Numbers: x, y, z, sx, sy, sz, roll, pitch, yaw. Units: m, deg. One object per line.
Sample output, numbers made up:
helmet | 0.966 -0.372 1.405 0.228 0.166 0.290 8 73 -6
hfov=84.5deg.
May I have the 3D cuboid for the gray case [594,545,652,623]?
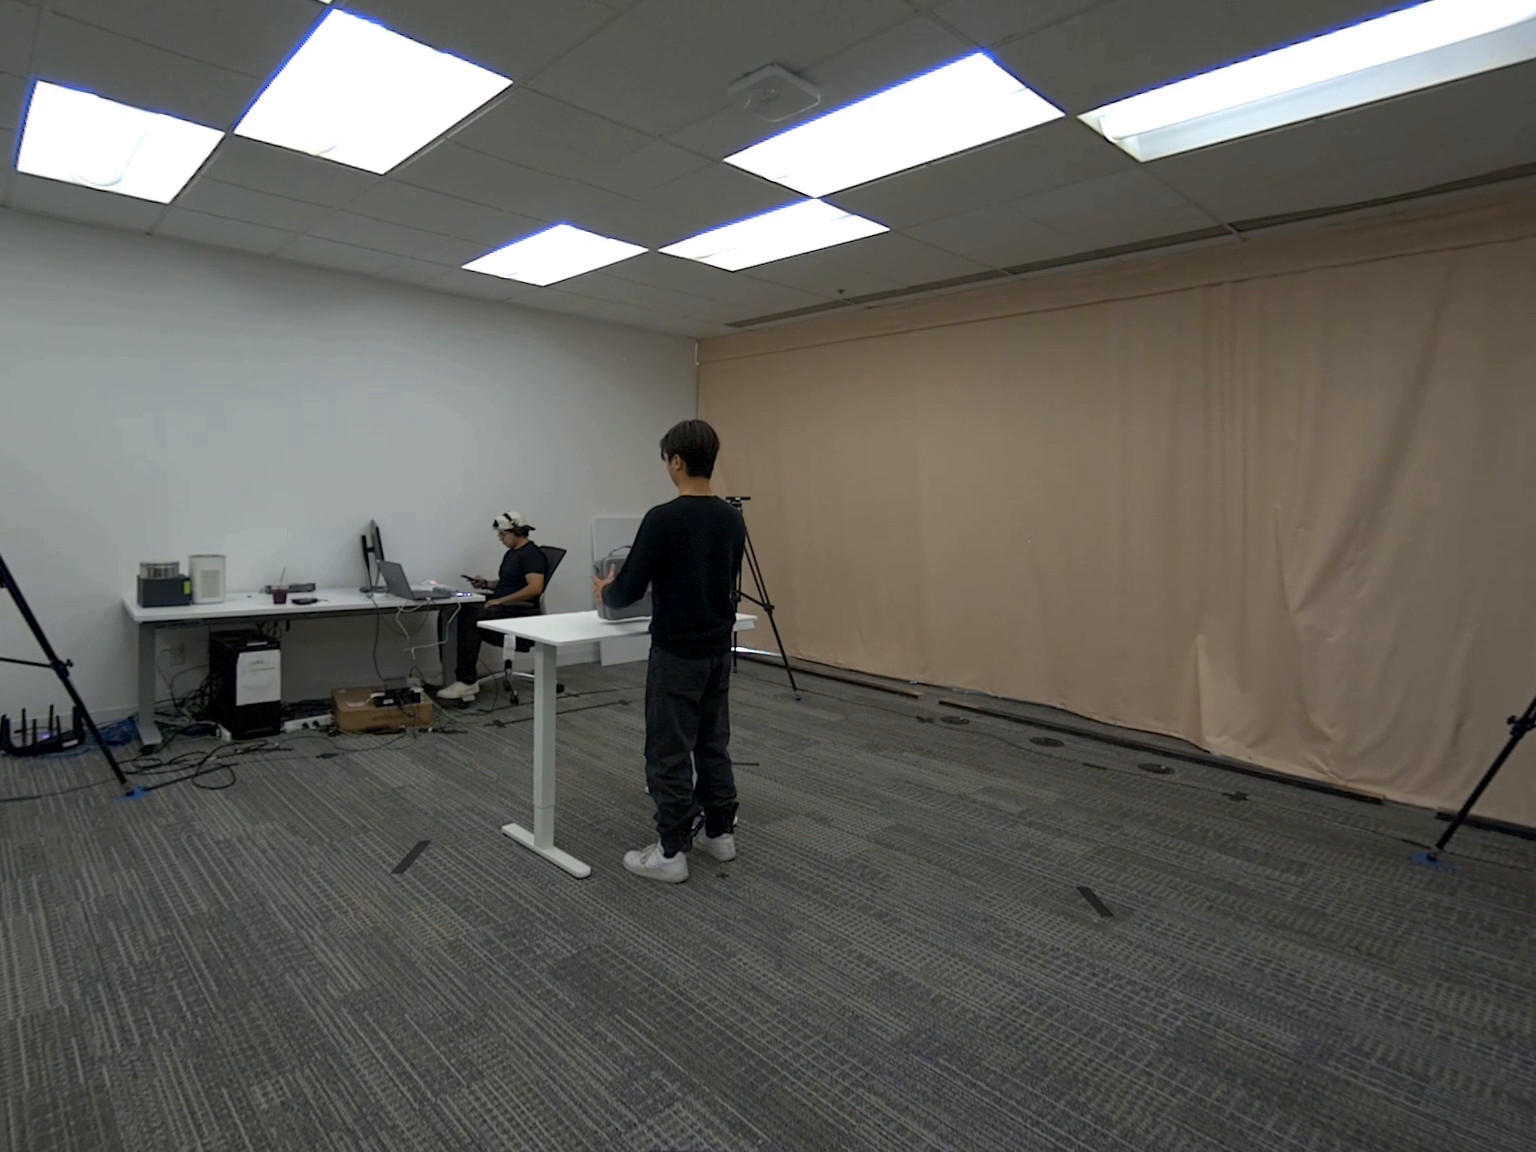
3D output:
gray case | -0.578 0.039 3.411 0.251 0.261 0.106 -5 0 -42
